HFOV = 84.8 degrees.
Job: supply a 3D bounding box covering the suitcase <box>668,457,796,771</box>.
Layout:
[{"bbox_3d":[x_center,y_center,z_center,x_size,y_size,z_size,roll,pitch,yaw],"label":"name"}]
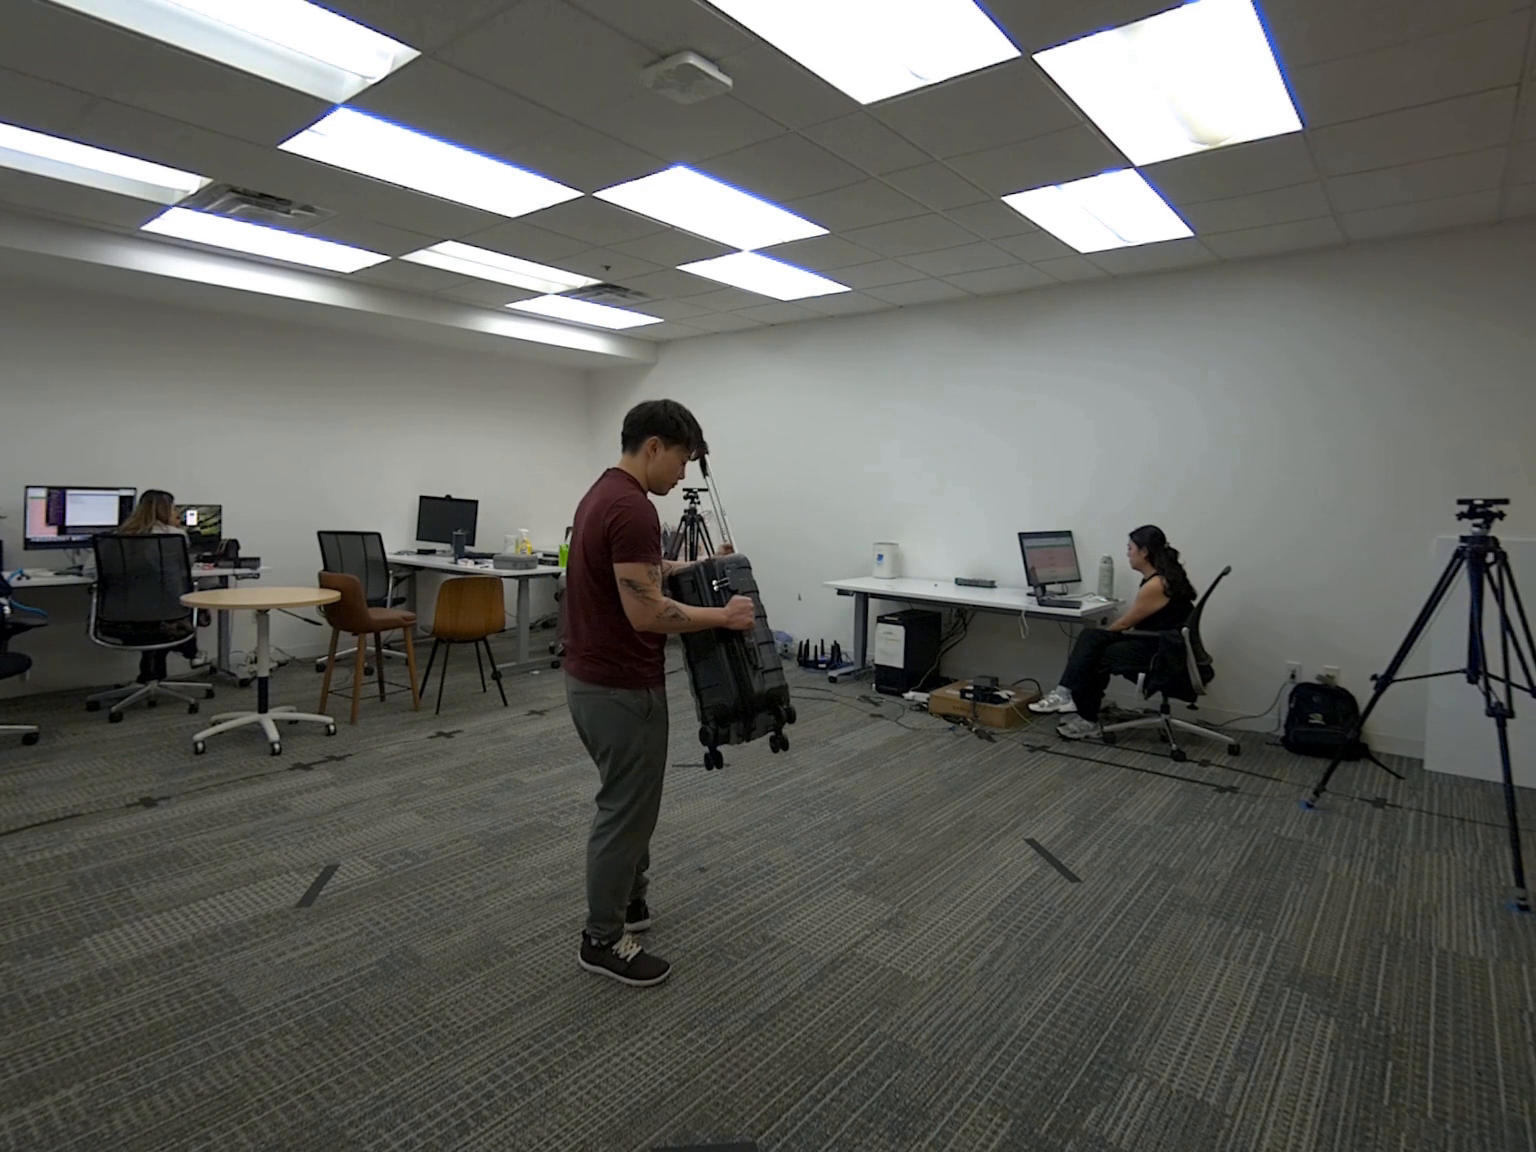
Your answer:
[{"bbox_3d":[-0.201,0.055,2.616,0.255,1.008,0.375,-14,-26,-8],"label":"suitcase"}]
